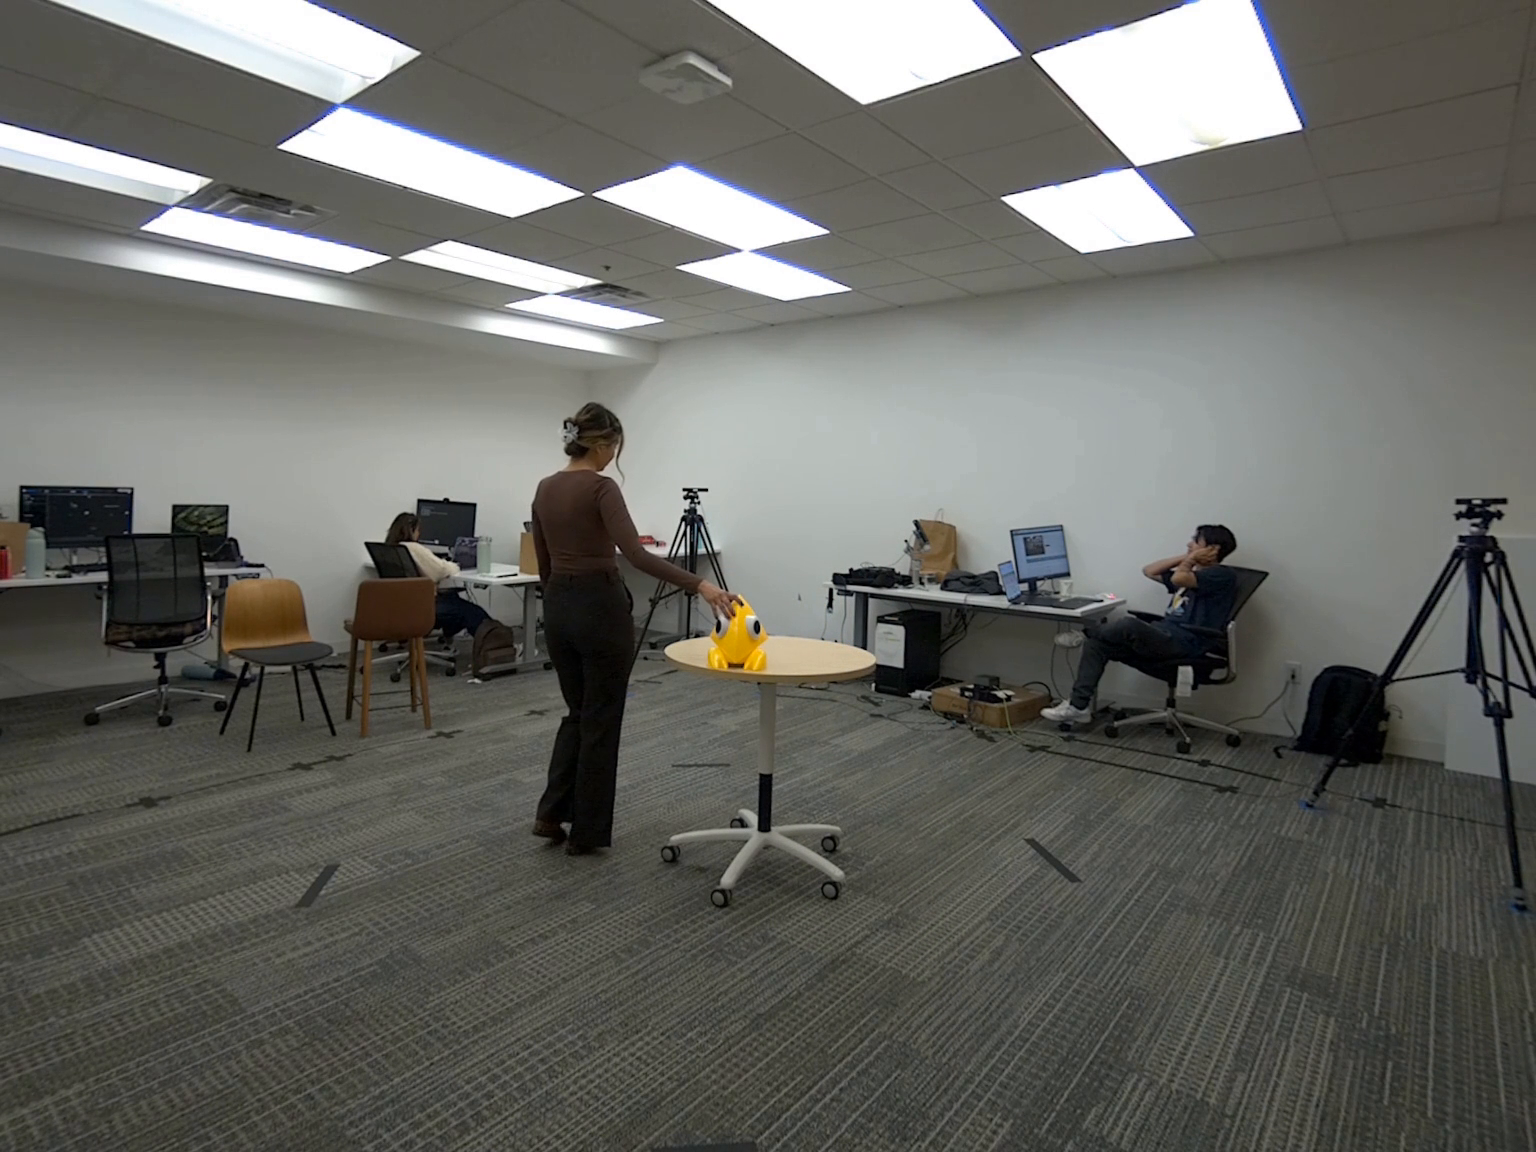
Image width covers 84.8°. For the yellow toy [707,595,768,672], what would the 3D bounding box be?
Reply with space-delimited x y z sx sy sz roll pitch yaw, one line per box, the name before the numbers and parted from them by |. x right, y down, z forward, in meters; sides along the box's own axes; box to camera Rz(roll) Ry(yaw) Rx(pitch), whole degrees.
yellow toy | -0.109 0.181 2.855 0.206 0.230 0.192 2 3 4
